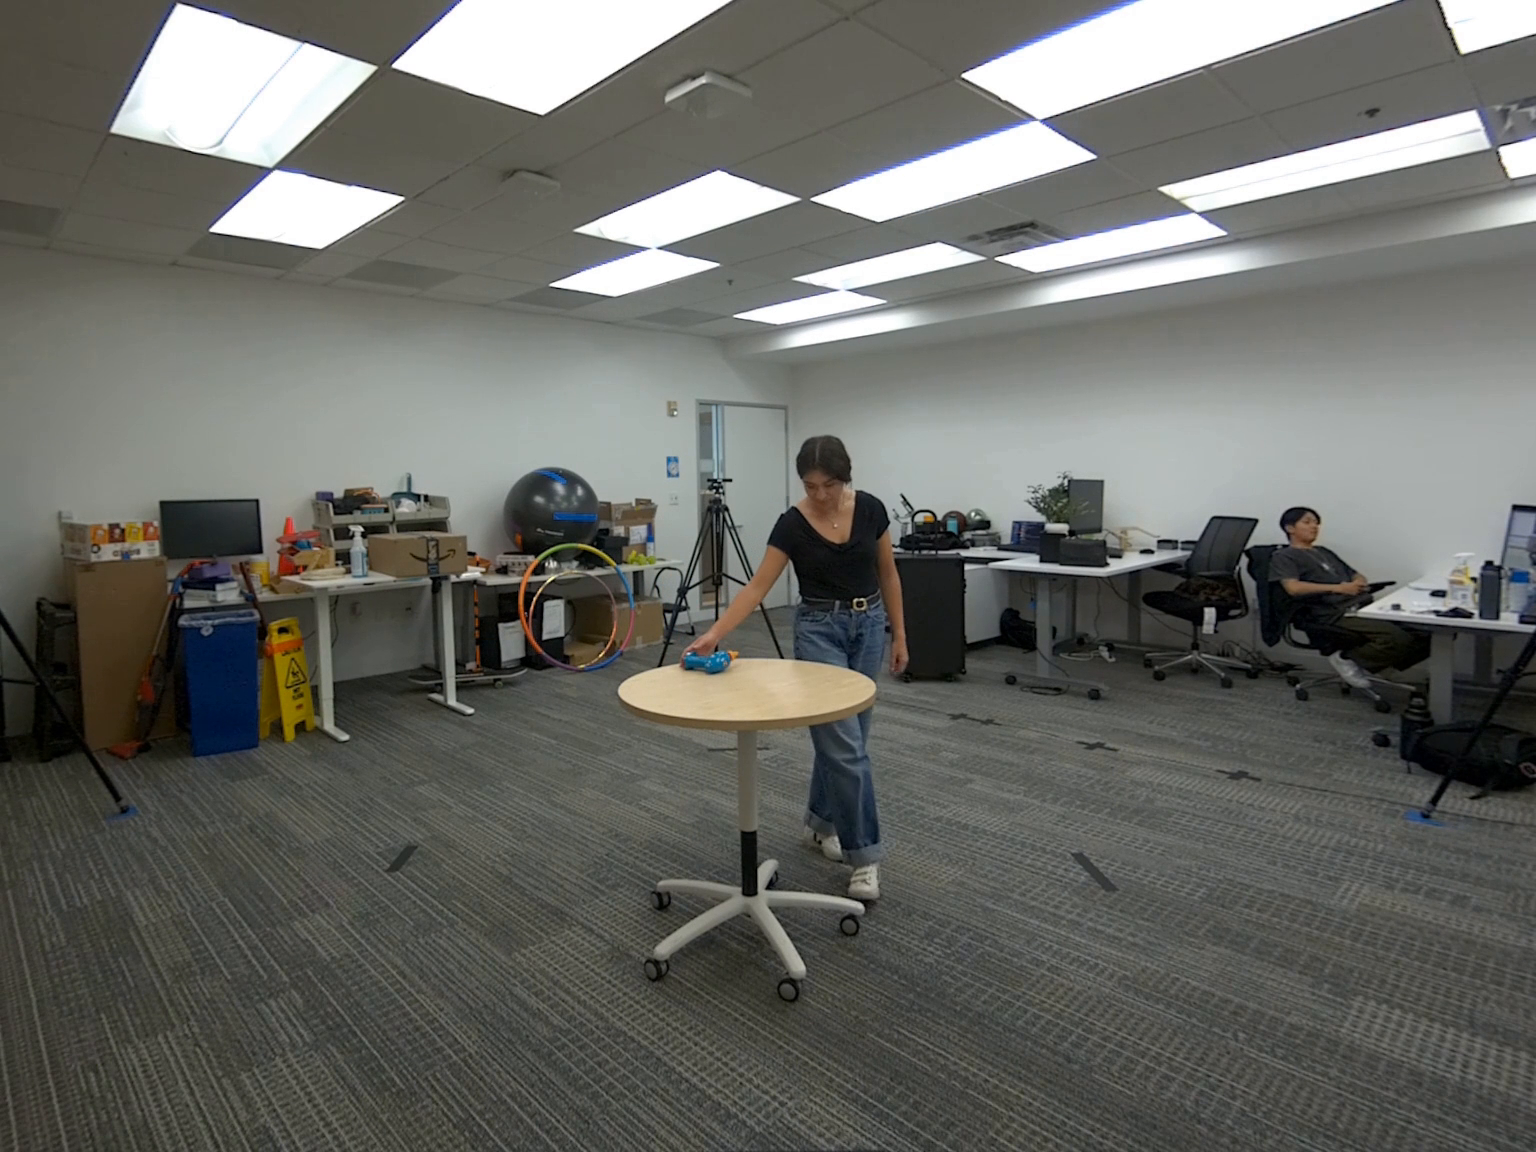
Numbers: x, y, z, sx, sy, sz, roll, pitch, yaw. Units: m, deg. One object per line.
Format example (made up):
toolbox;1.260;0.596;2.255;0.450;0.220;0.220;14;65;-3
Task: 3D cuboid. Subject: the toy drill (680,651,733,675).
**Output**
toy drill;-0.187;0.274;2.786;0.150;0.060;0.167;3;17;38
